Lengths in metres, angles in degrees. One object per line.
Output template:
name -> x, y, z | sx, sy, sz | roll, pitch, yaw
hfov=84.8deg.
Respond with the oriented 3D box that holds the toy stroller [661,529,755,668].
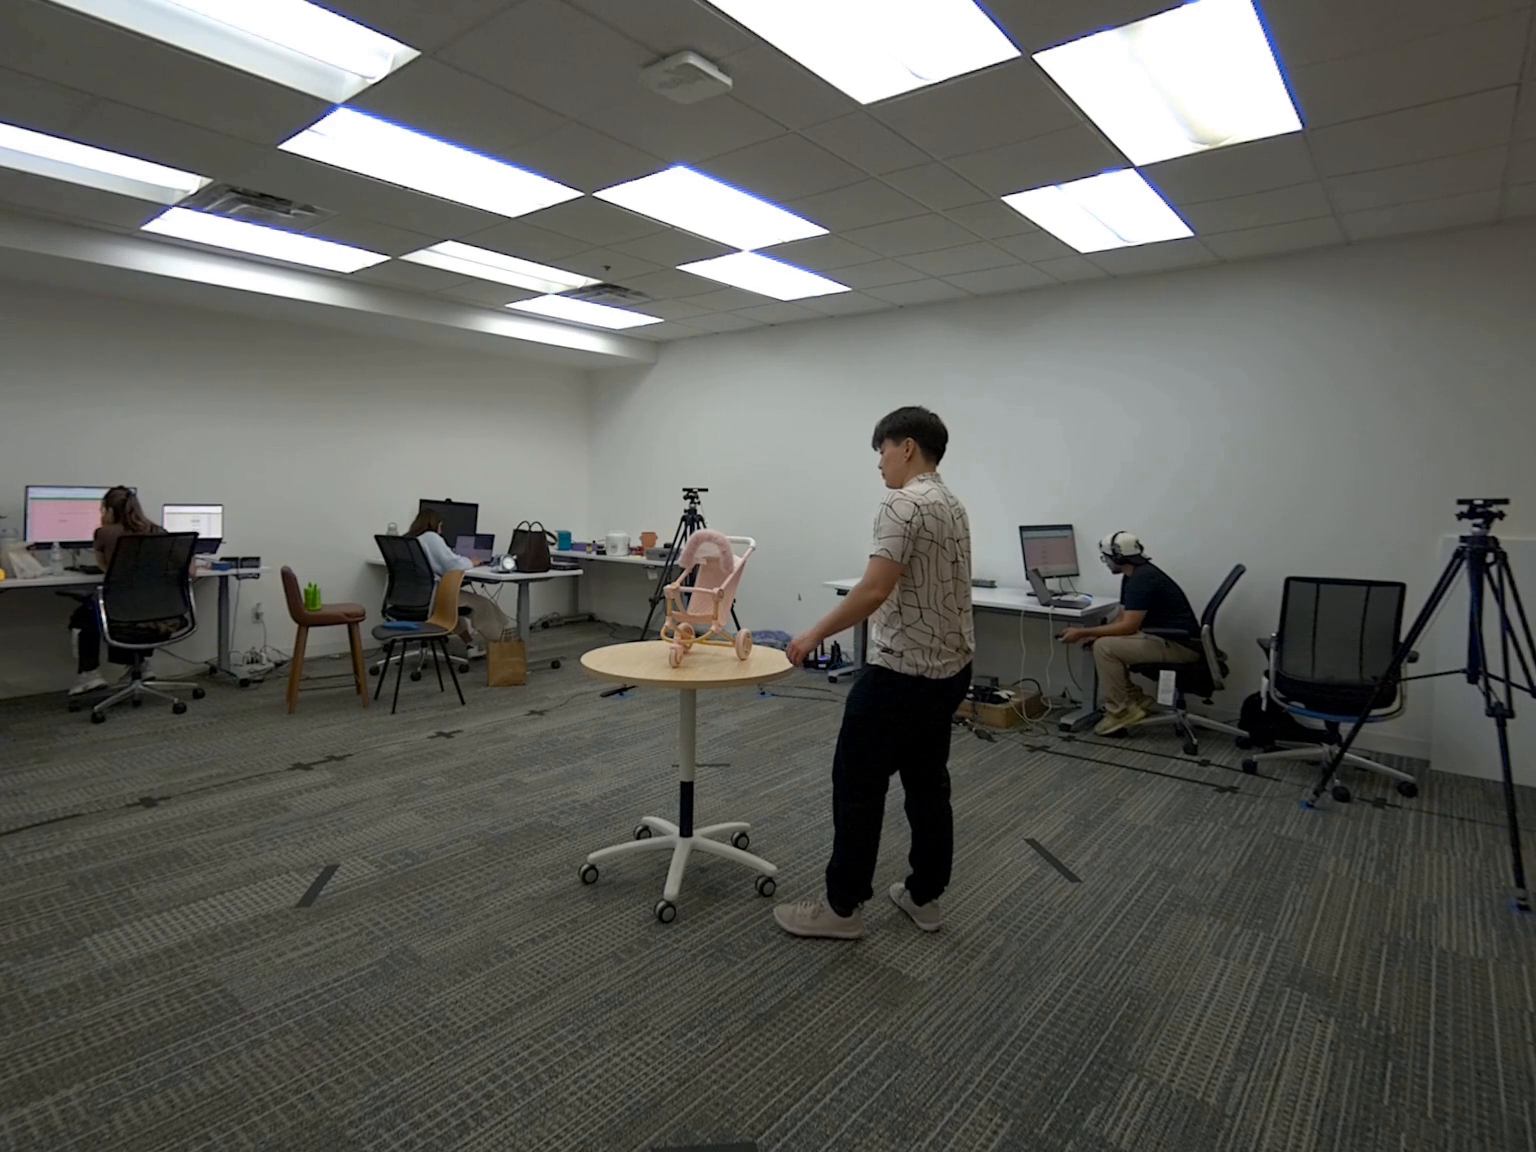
toy stroller -> -0.239, 0.069, 3.024 | 0.290, 0.540, 0.328 | 2, -14, 31
